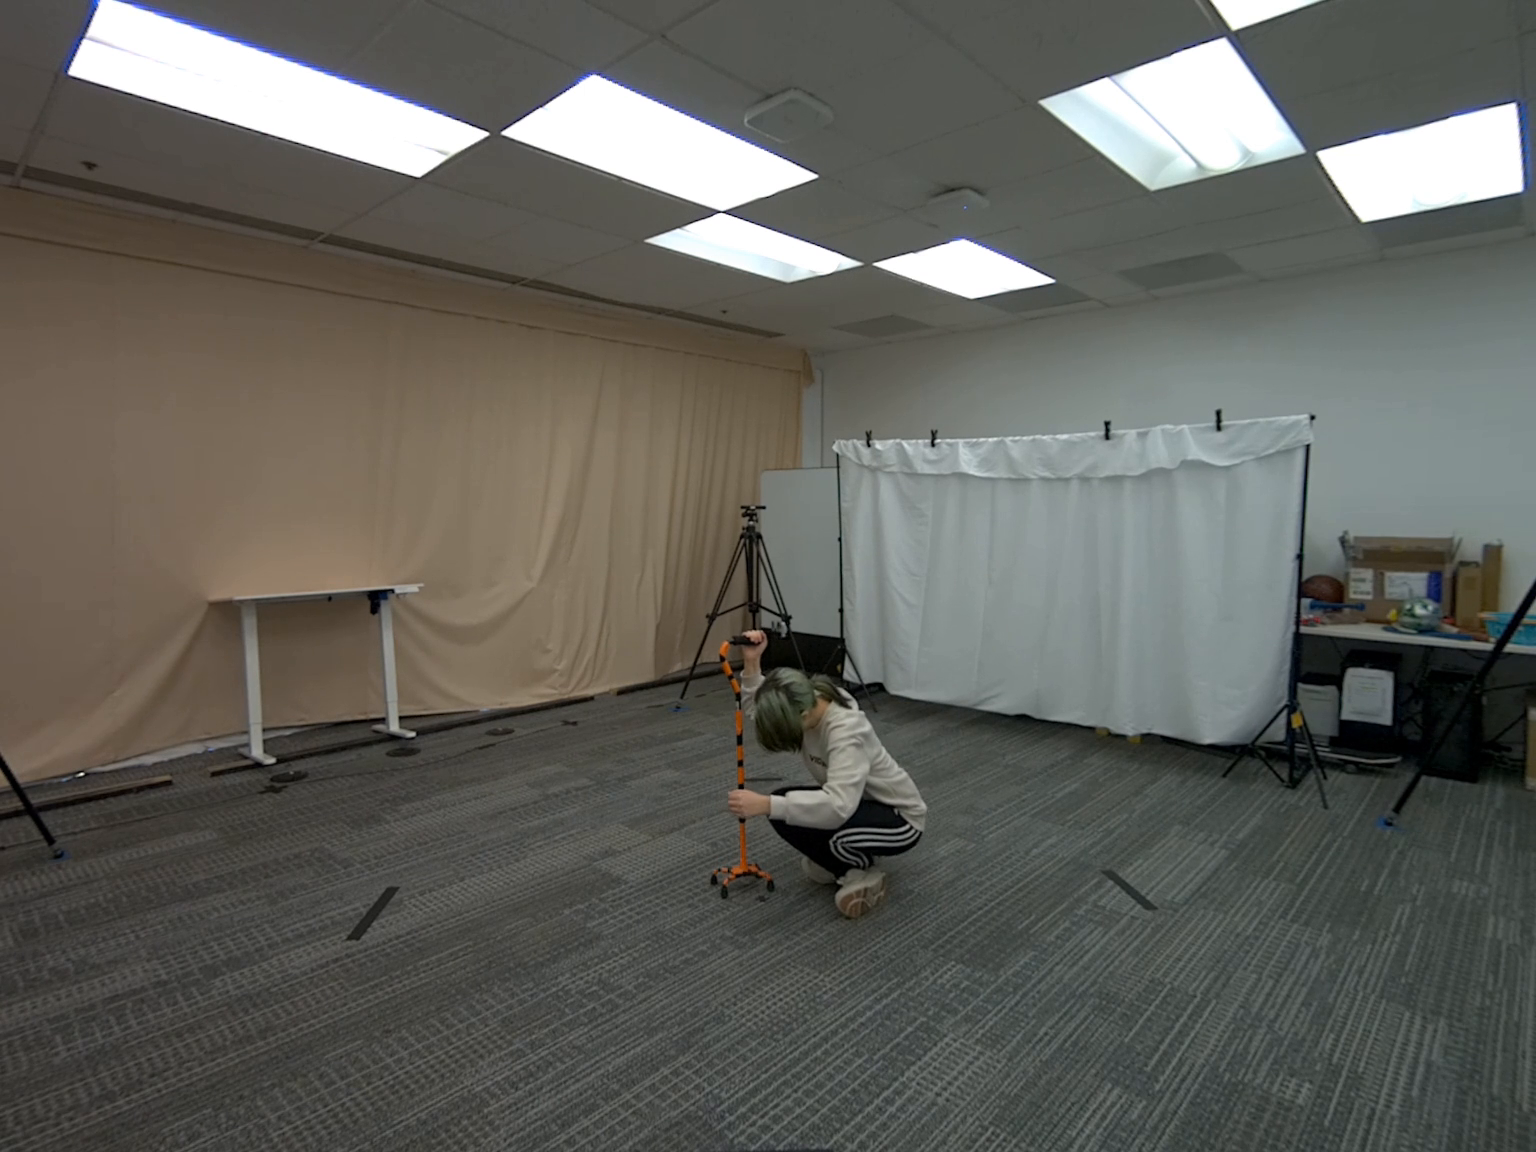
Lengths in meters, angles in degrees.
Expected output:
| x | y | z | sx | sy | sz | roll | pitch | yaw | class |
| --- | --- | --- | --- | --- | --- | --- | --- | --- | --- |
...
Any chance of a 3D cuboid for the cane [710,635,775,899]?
| x | y | z | sx | sy | sz | roll | pitch | yaw | class |
| --- | --- | --- | --- | --- | --- | --- | --- | --- | --- |
| -0.105 | 0.683 | 3.088 | 0.203 | 0.909 | 0.154 | -1 | -2 | -17 | cane |
